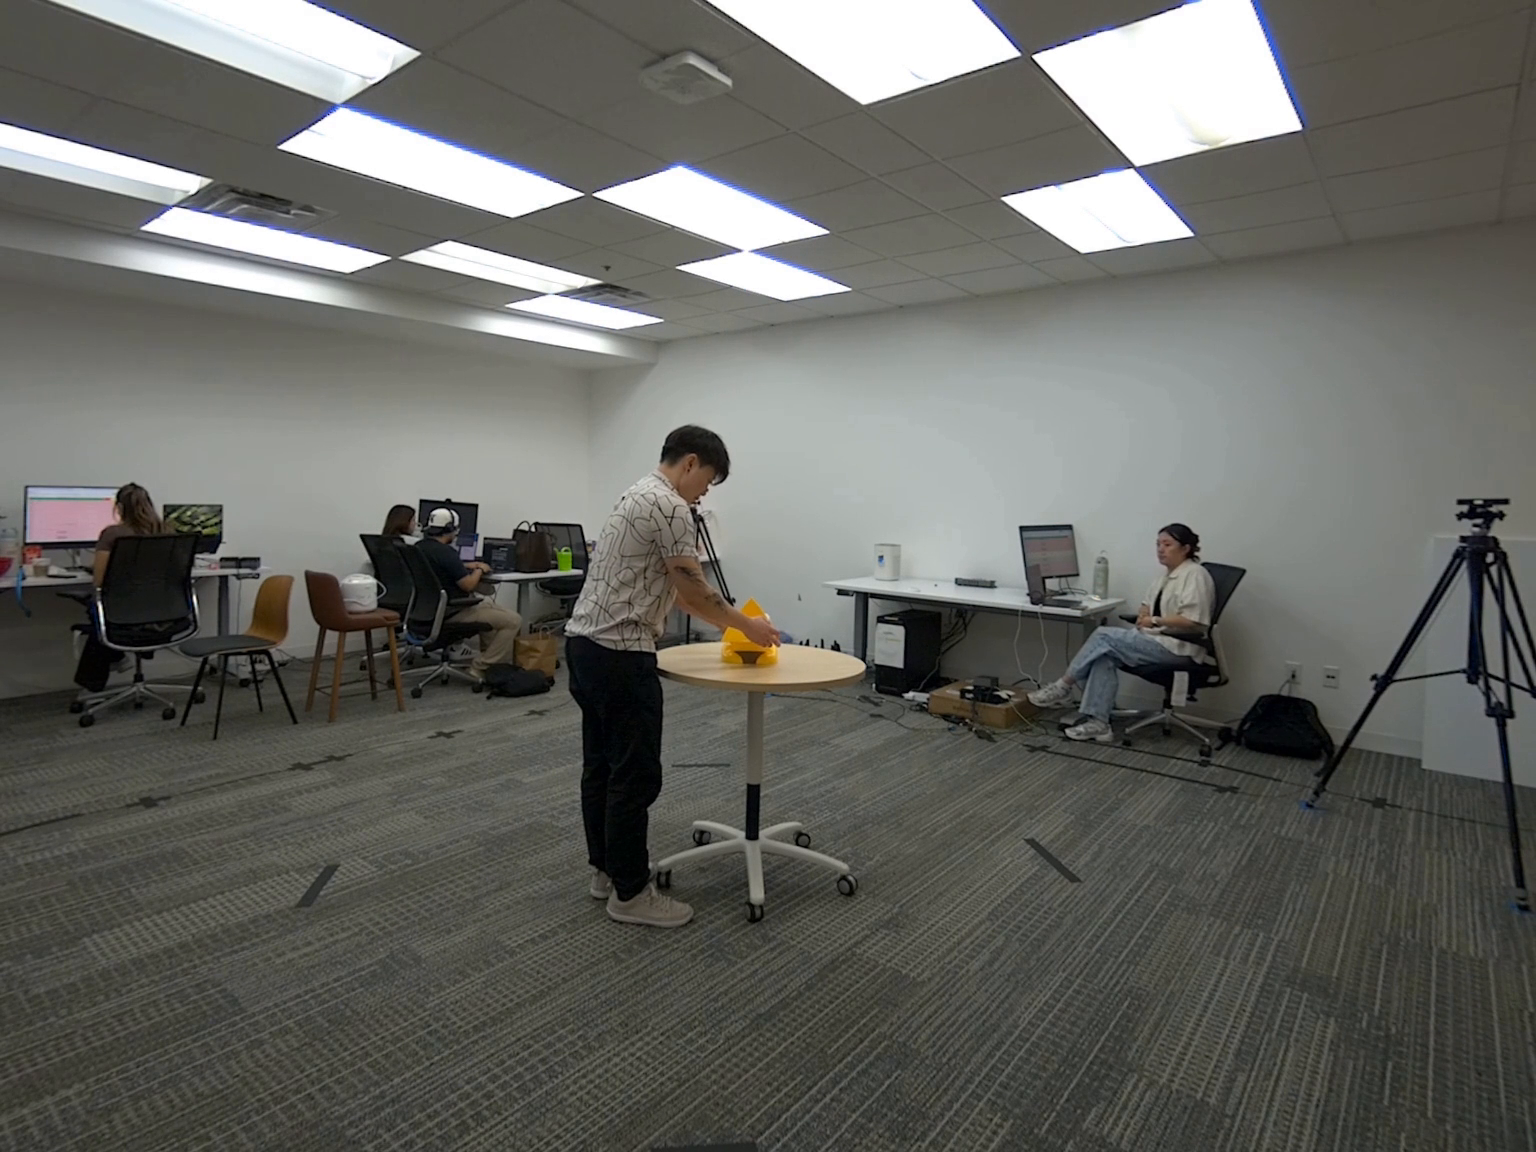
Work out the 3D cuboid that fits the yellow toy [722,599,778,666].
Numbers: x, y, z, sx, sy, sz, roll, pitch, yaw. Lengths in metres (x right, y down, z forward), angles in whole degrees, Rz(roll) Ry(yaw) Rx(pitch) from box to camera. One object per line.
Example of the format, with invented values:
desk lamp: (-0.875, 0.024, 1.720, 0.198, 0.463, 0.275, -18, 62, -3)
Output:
yellow toy: (-0.071, 0.184, 3.025, 0.205, 0.230, 0.193, 2, 3, -1)
